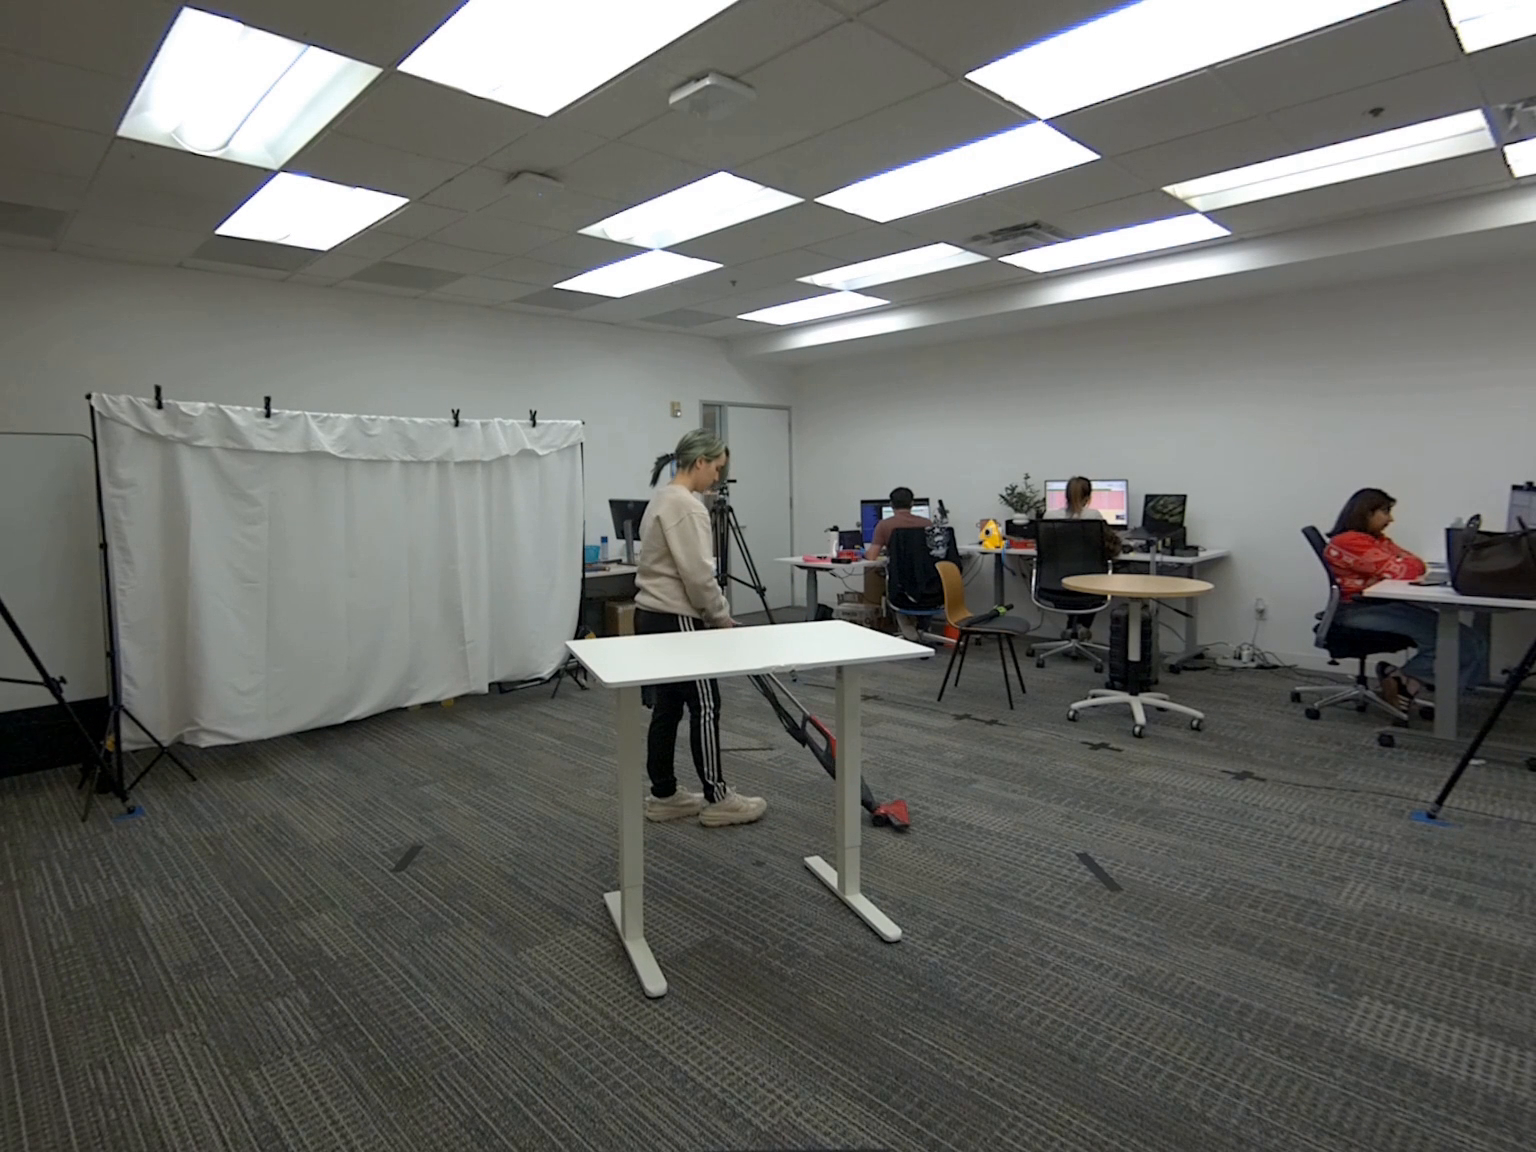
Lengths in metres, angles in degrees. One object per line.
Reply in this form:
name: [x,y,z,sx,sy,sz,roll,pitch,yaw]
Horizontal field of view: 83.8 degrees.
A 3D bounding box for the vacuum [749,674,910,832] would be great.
vacuum: [0.140,0.605,3.503,0.144,1.055,0.251,-45,-4,6]
